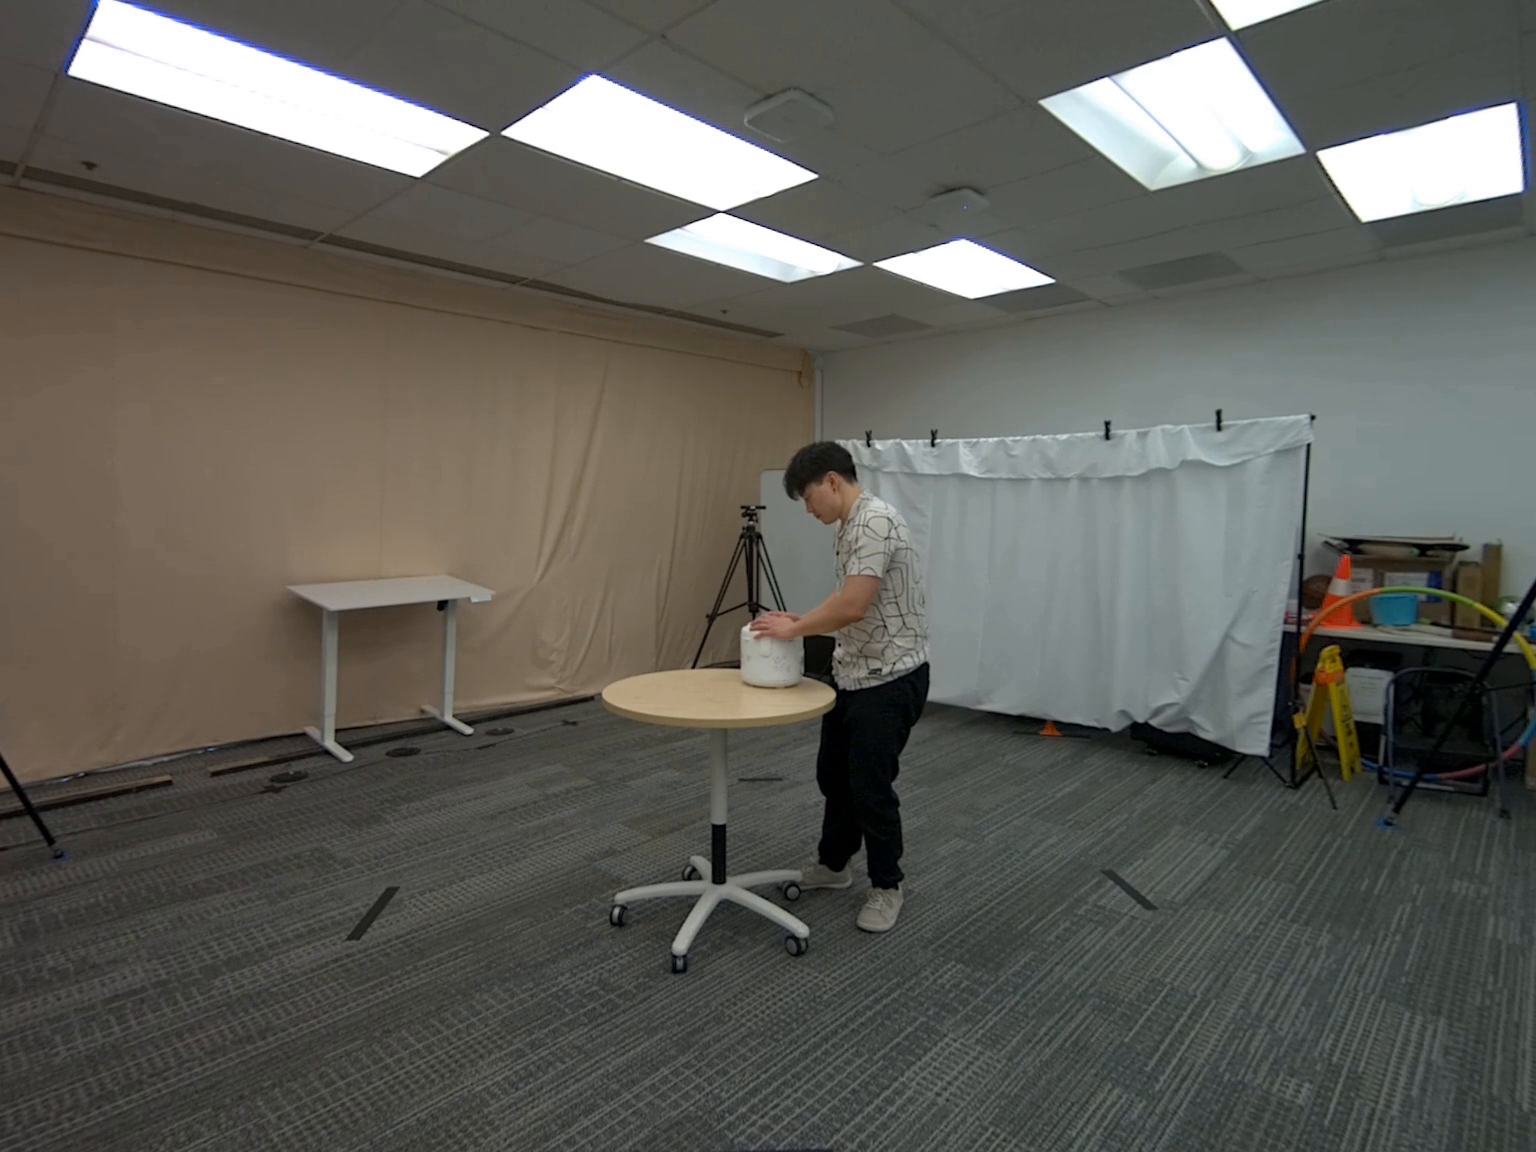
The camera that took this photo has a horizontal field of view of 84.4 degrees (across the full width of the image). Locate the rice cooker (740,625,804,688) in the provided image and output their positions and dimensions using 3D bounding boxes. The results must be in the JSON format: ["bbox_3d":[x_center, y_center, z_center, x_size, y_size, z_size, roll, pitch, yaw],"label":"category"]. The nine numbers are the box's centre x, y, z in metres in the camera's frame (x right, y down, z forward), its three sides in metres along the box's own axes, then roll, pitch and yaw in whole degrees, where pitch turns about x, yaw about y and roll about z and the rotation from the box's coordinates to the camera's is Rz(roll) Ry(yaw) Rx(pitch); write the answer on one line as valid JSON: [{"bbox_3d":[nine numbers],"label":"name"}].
[{"bbox_3d":[0.019,0.258,2.894,0.221,0.232,0.217,0,2,14],"label":"rice cooker"}]
